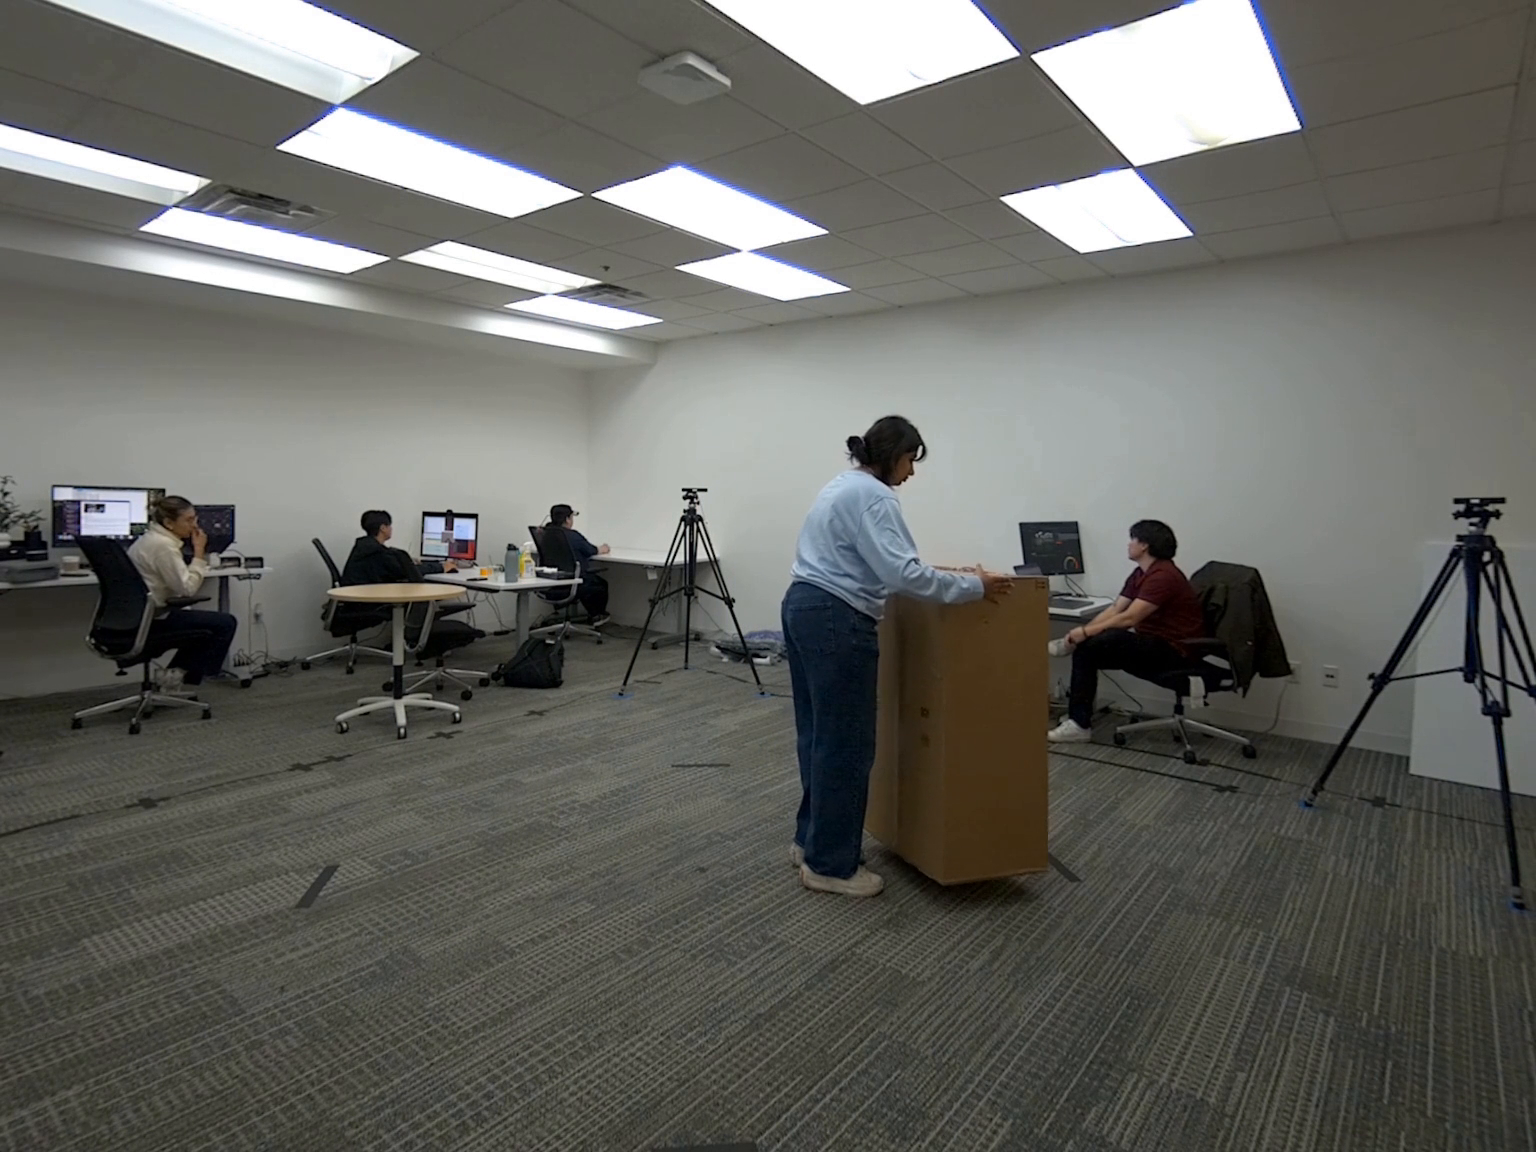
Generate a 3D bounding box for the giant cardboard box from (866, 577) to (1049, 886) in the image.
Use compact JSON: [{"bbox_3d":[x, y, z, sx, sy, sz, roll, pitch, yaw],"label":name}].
[{"bbox_3d":[0.681,0.512,3.151,0.417,1.026,0.590,1,0,-22],"label":"giant cardboard box"}]
